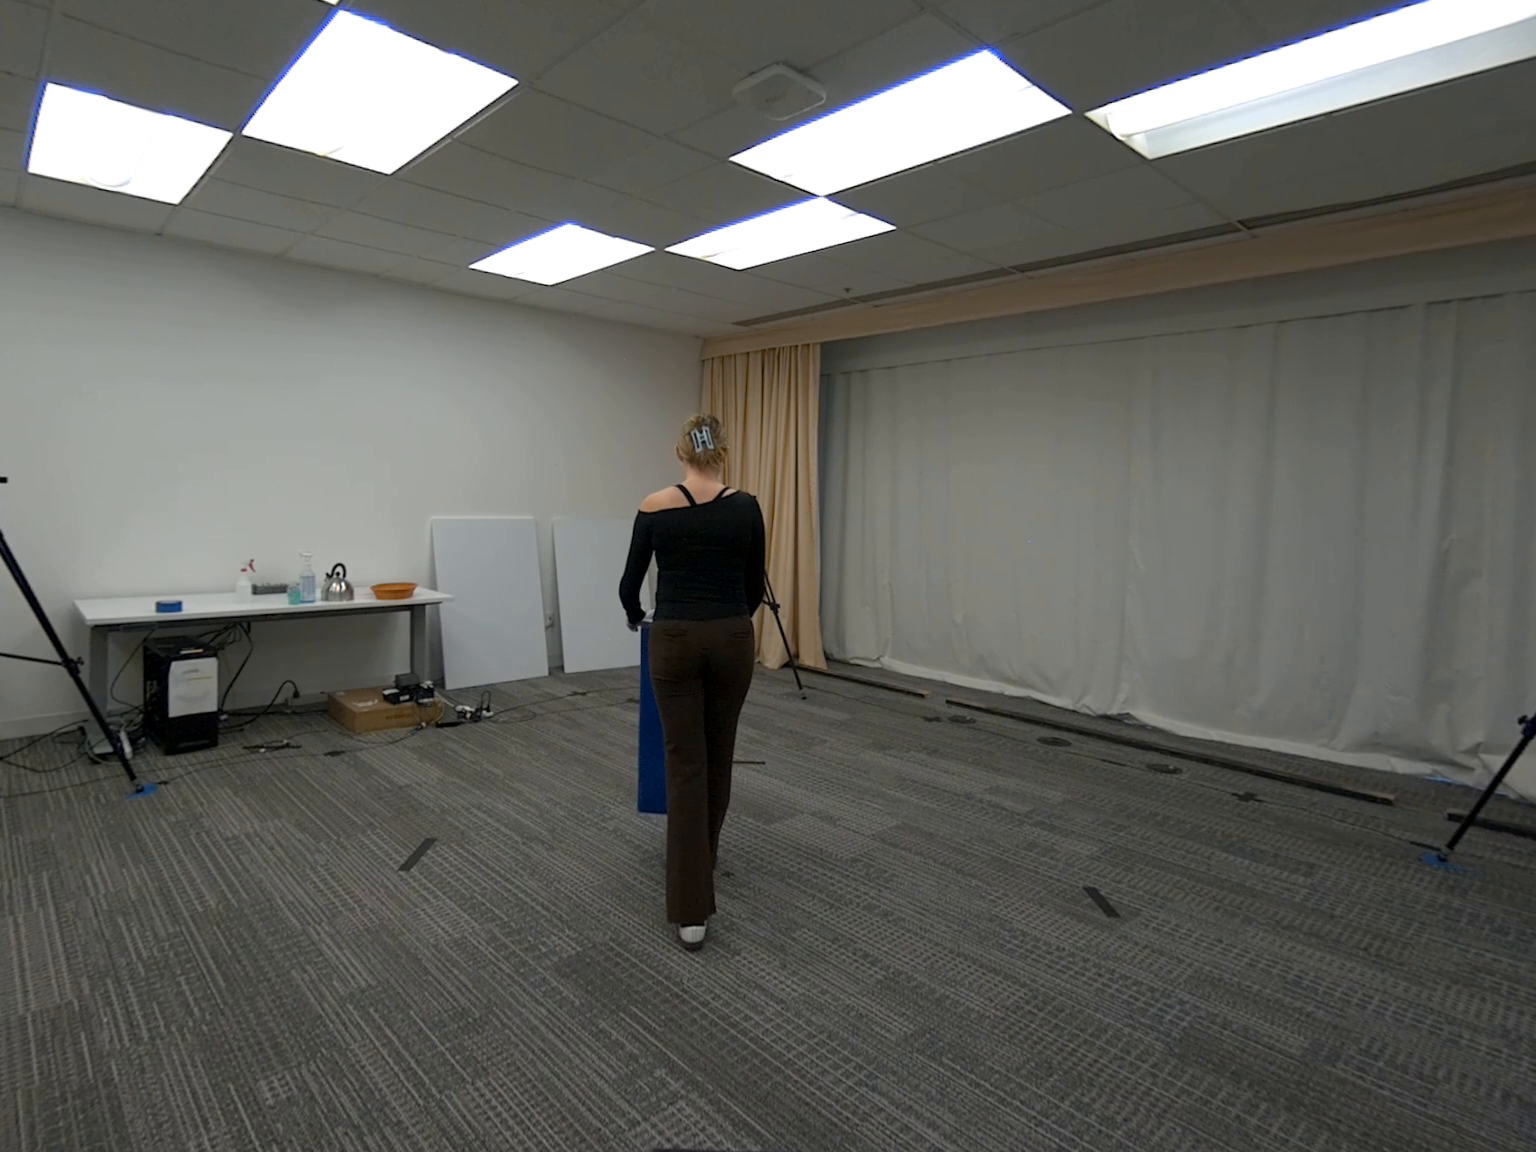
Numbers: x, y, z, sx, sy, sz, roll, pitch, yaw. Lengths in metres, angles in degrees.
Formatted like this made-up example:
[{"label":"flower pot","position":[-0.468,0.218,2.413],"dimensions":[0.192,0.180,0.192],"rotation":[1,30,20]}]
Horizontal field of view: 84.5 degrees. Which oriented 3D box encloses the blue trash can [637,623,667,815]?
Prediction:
[{"label":"blue trash can","position":[-0.322,0.521,3.215],"dimensions":[0.374,0.713,0.378],"rotation":[4,1,0]}]
